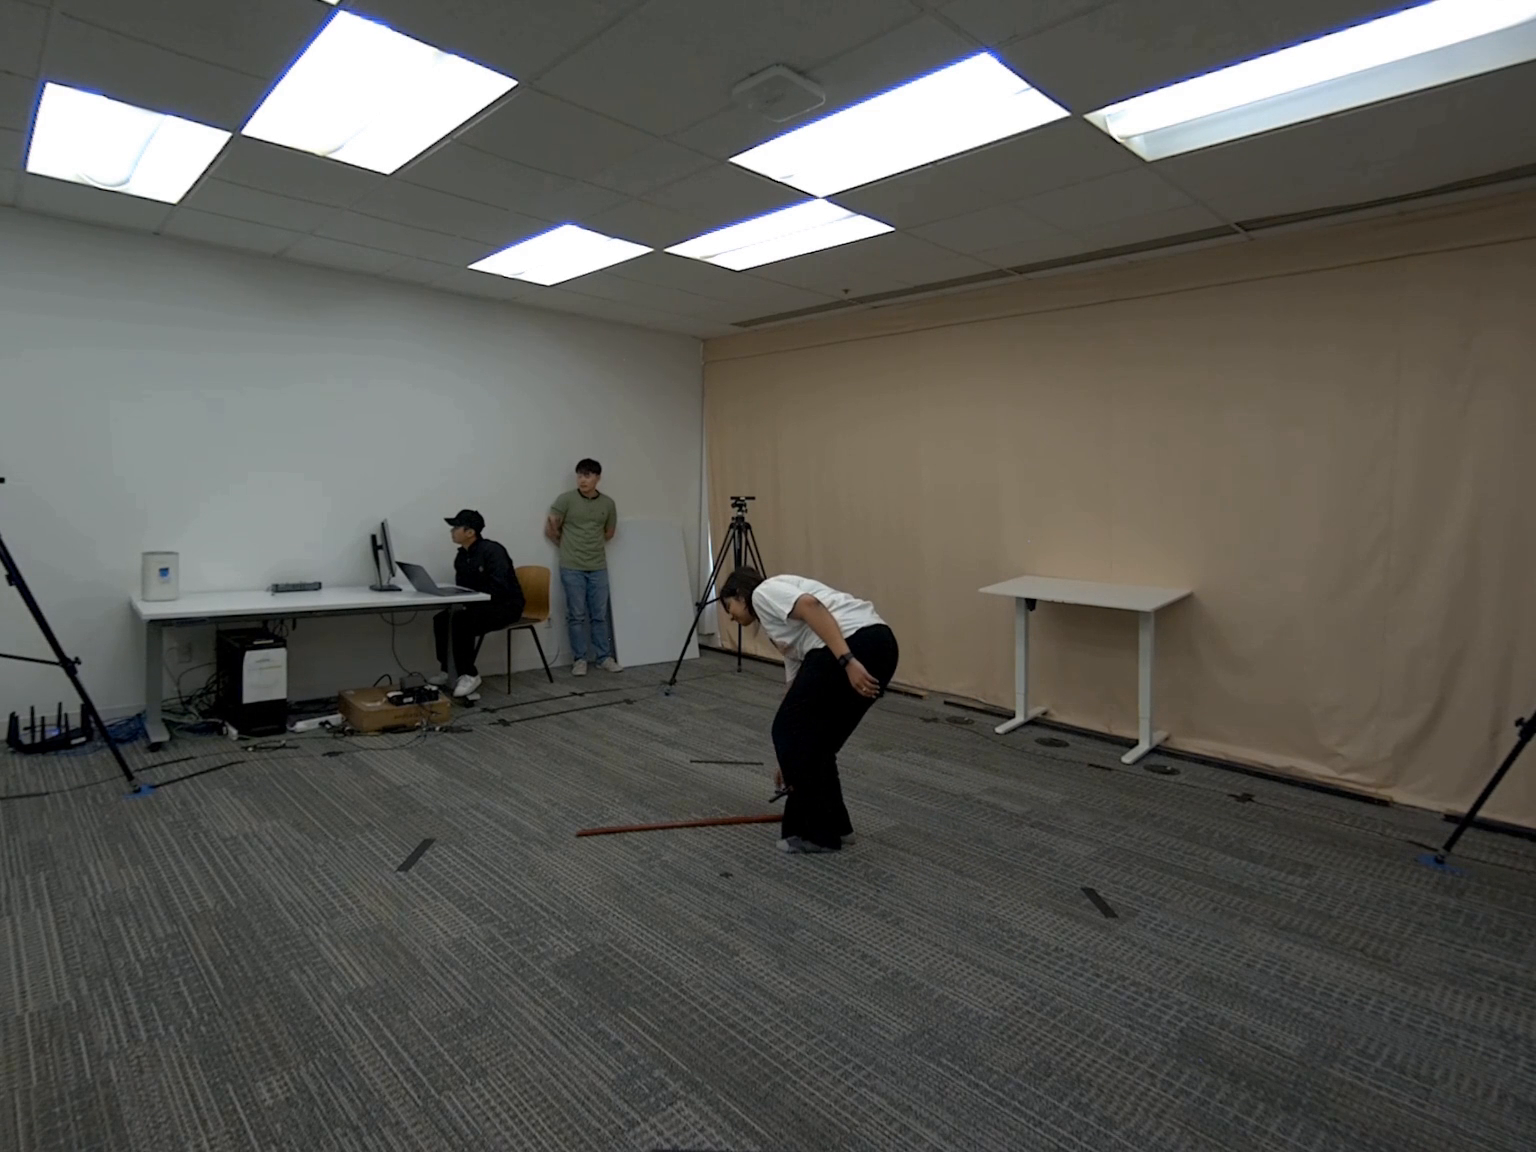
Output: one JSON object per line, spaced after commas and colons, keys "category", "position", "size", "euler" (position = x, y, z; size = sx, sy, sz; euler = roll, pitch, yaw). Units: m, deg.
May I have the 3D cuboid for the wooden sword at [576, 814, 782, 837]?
{"category": "wooden sword", "position": [-0.305, 1.031, 3.560], "size": [1.013, 0.050, 0.025], "euler": [-1, 48, -15]}
